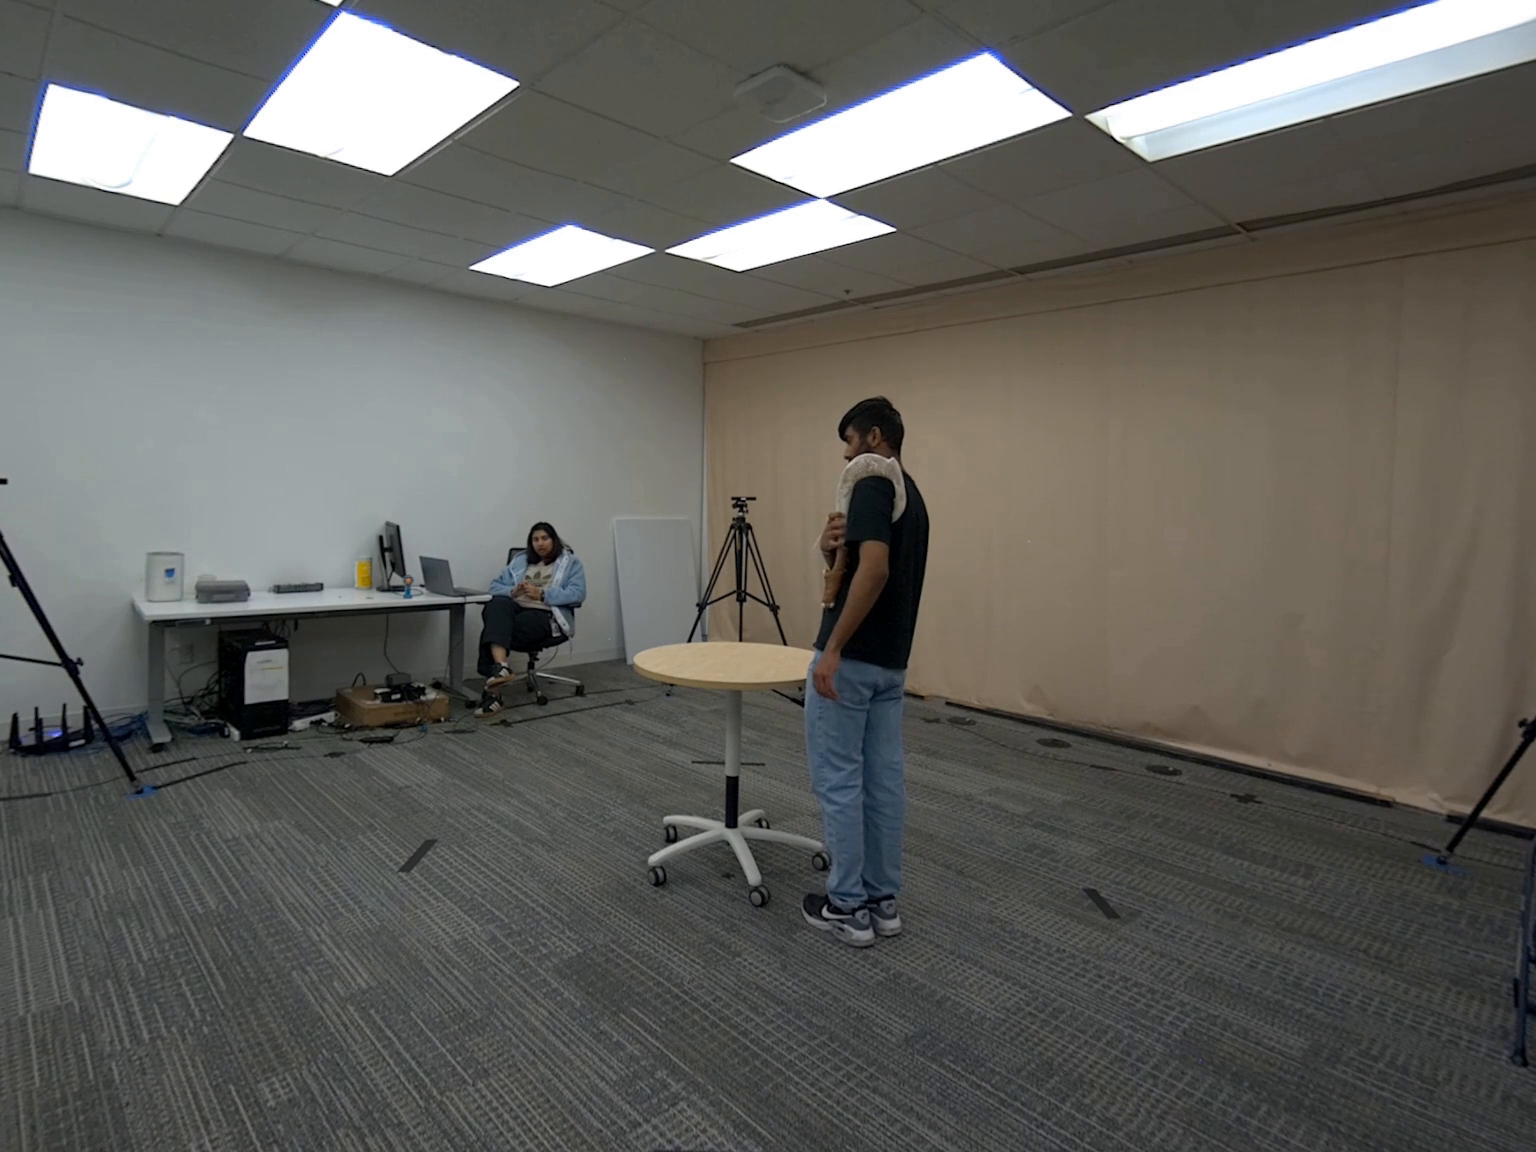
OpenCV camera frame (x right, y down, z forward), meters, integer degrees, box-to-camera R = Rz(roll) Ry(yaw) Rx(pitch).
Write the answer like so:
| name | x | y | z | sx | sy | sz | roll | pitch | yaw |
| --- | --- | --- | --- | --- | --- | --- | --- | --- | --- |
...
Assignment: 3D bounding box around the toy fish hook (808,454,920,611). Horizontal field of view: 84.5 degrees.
| name | x | y | z | sx | sy | sz | roll | pitch | yaw |
| --- | --- | --- | --- | --- | --- | --- | --- | --- | --- |
| toy fish hook | 0.291 | -0.124 | 2.601 | 0.231 | 0.506 | 0.047 | 15 | 2 | 34 |
